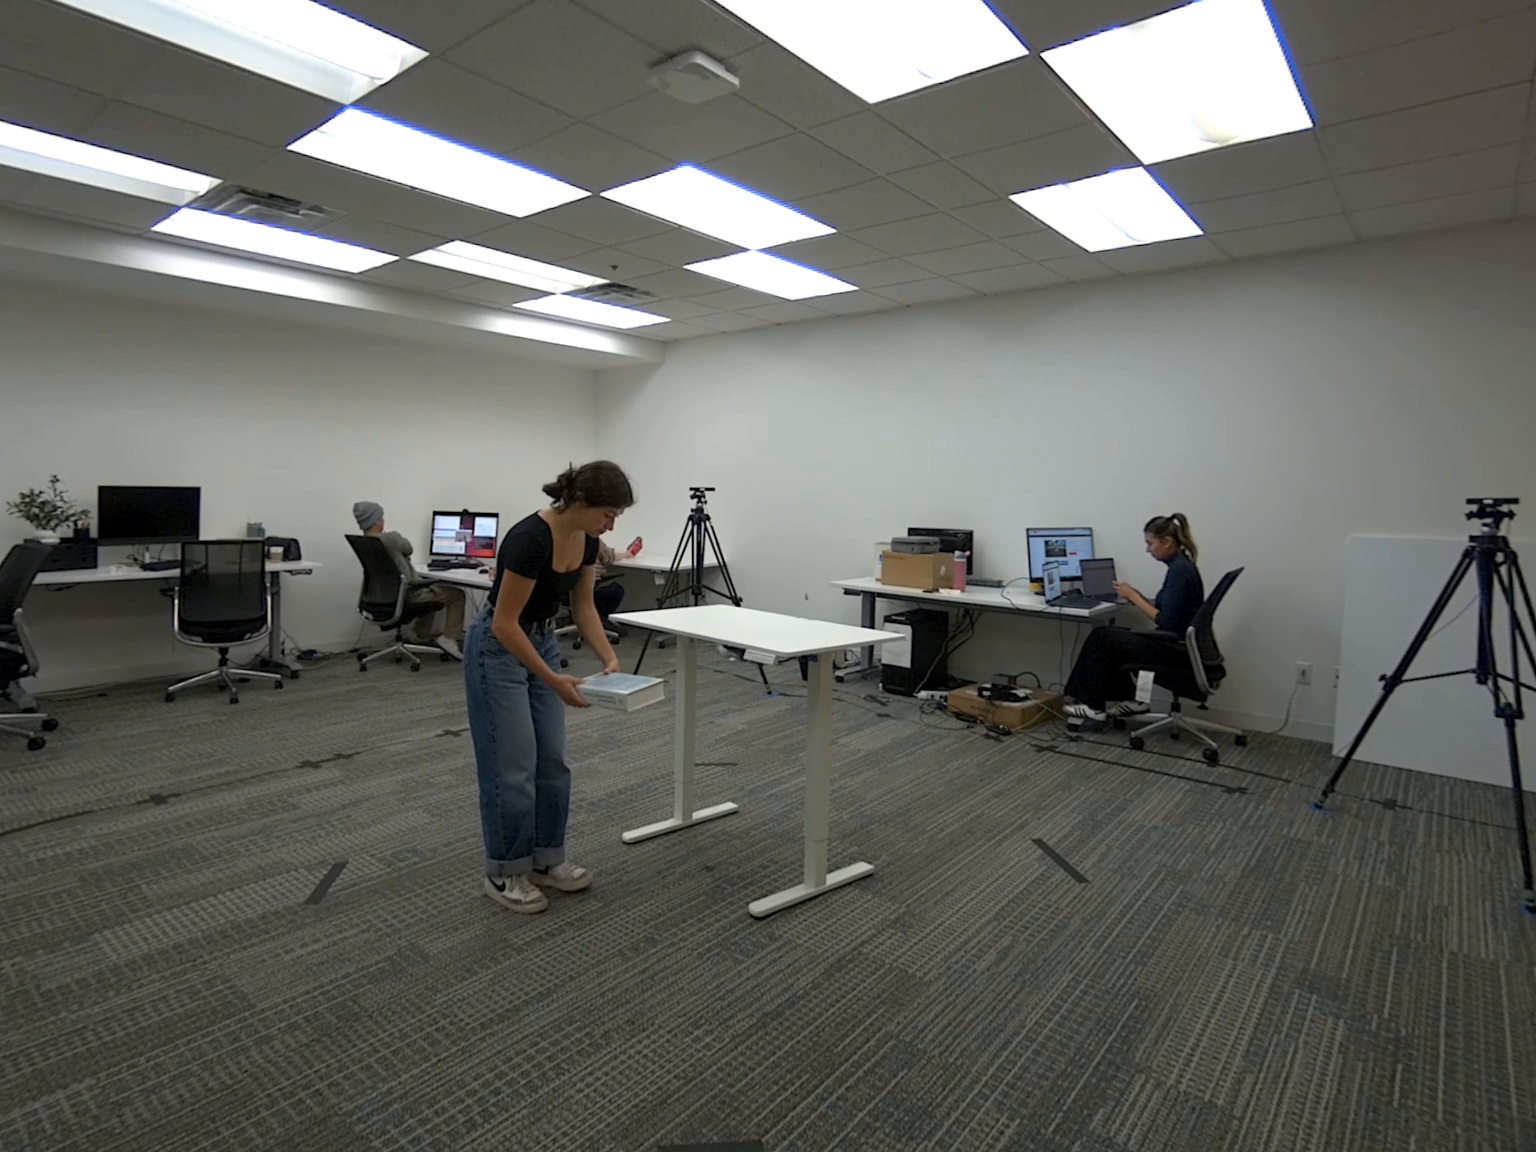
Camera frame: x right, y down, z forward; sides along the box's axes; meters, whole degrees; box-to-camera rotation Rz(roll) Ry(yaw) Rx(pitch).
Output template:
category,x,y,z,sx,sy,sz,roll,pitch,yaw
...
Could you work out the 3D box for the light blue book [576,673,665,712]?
category,x,y,z,sx,sy,sz,roll,pitch,yaw
light blue book,-0.493,0.363,2.708,0.269,0.059,0.186,1,7,35
